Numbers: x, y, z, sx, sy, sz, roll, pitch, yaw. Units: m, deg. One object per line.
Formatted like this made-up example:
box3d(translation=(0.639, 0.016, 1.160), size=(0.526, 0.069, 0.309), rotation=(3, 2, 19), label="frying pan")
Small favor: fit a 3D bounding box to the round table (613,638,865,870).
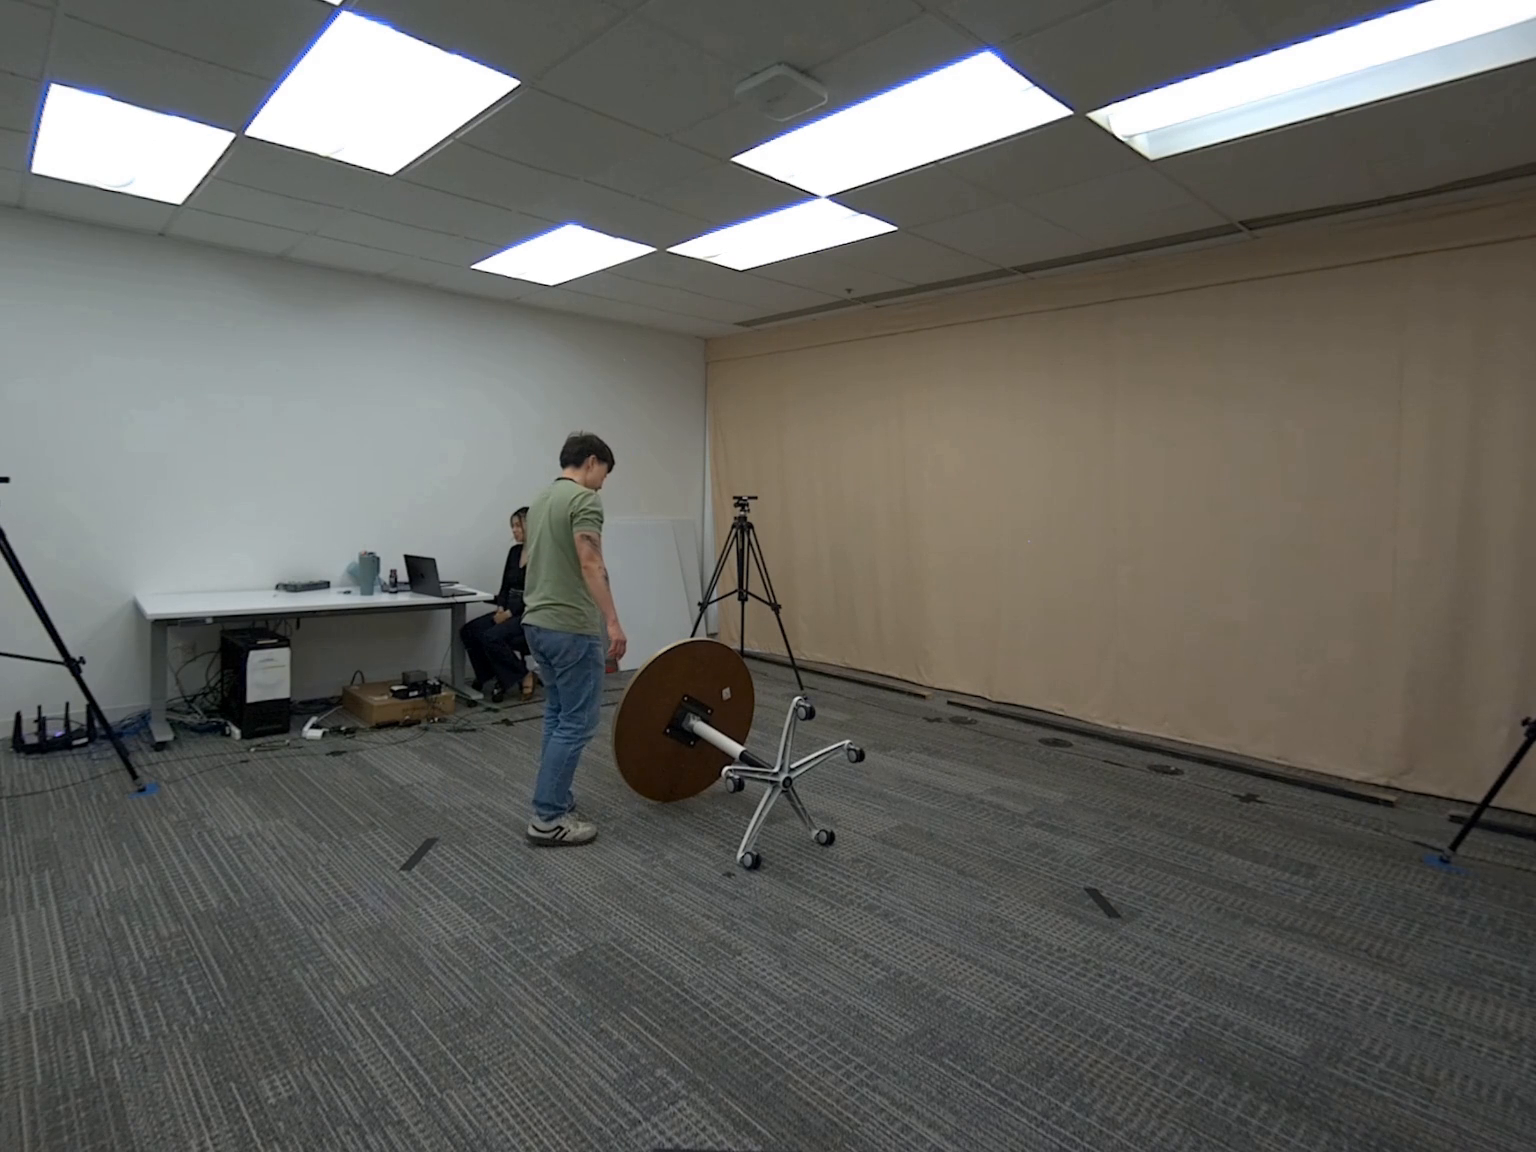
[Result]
box3d(translation=(-0.133, 0.737, 3.516), size=(0.747, 0.759, 0.817), rotation=(-2, 12, -39), label="round table")
